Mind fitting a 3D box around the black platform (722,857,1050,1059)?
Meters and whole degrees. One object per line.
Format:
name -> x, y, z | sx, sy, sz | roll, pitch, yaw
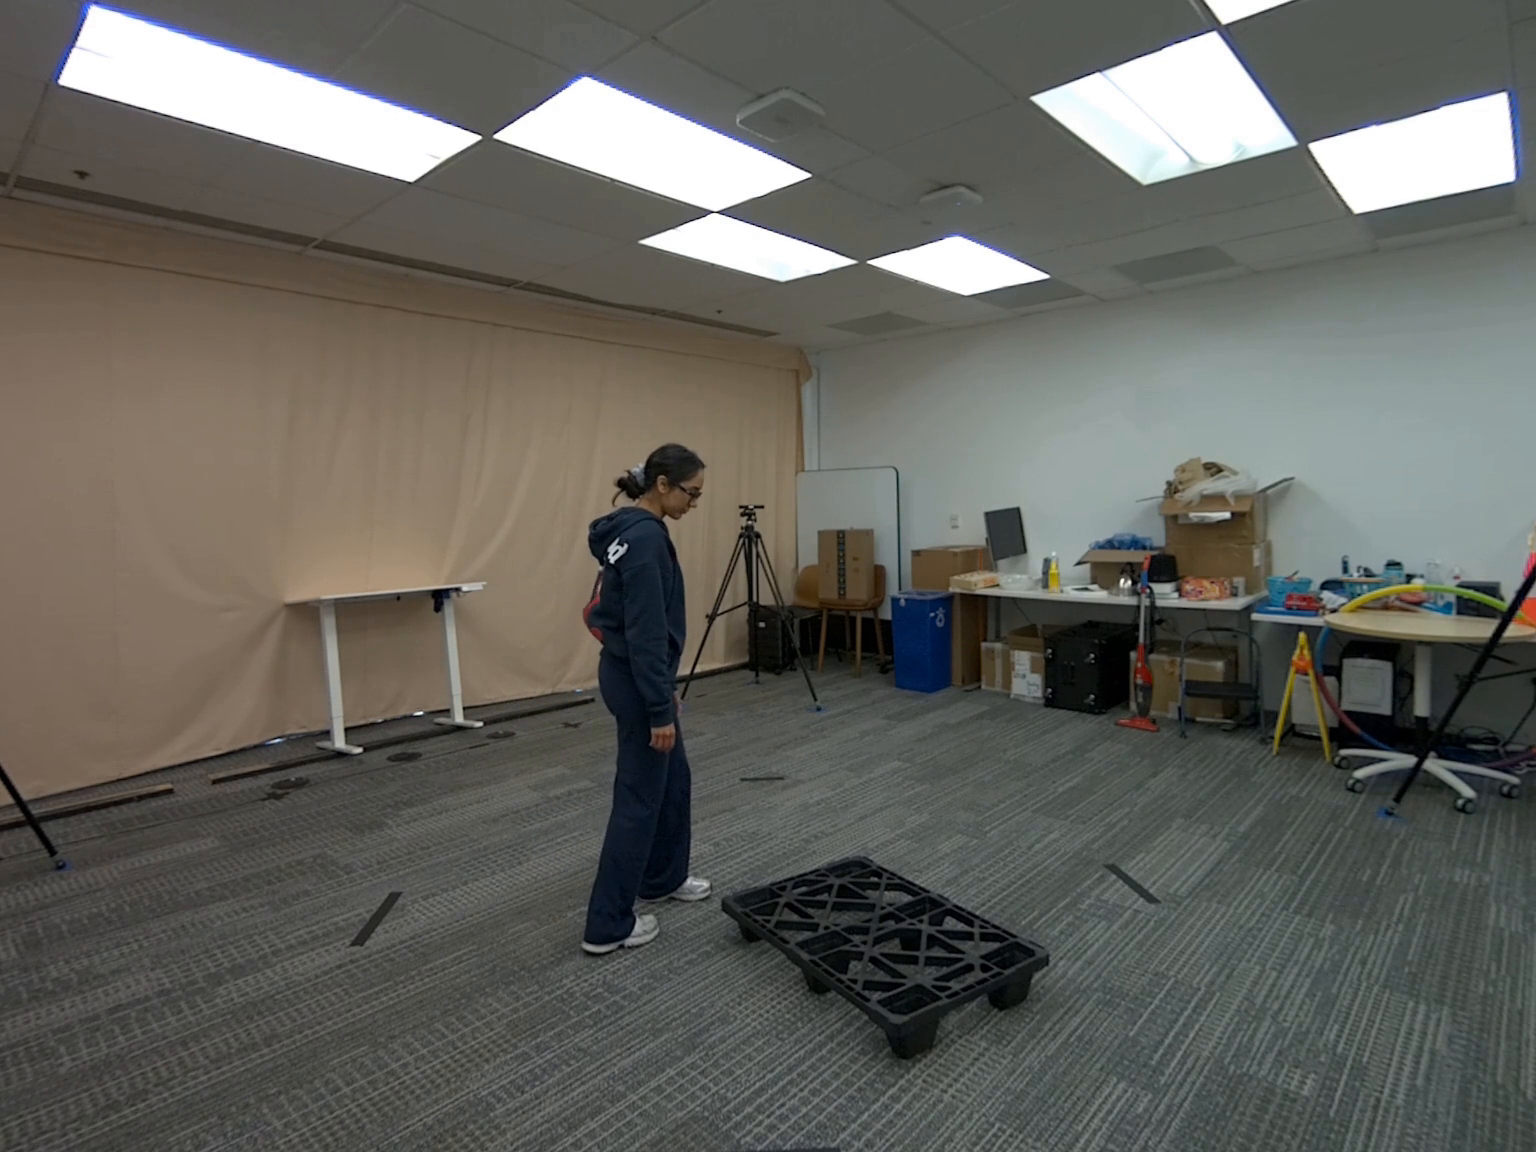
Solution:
black platform -> 0.321, 1.107, 2.531 | 0.588, 0.143, 0.831 | -4, 6, -34
